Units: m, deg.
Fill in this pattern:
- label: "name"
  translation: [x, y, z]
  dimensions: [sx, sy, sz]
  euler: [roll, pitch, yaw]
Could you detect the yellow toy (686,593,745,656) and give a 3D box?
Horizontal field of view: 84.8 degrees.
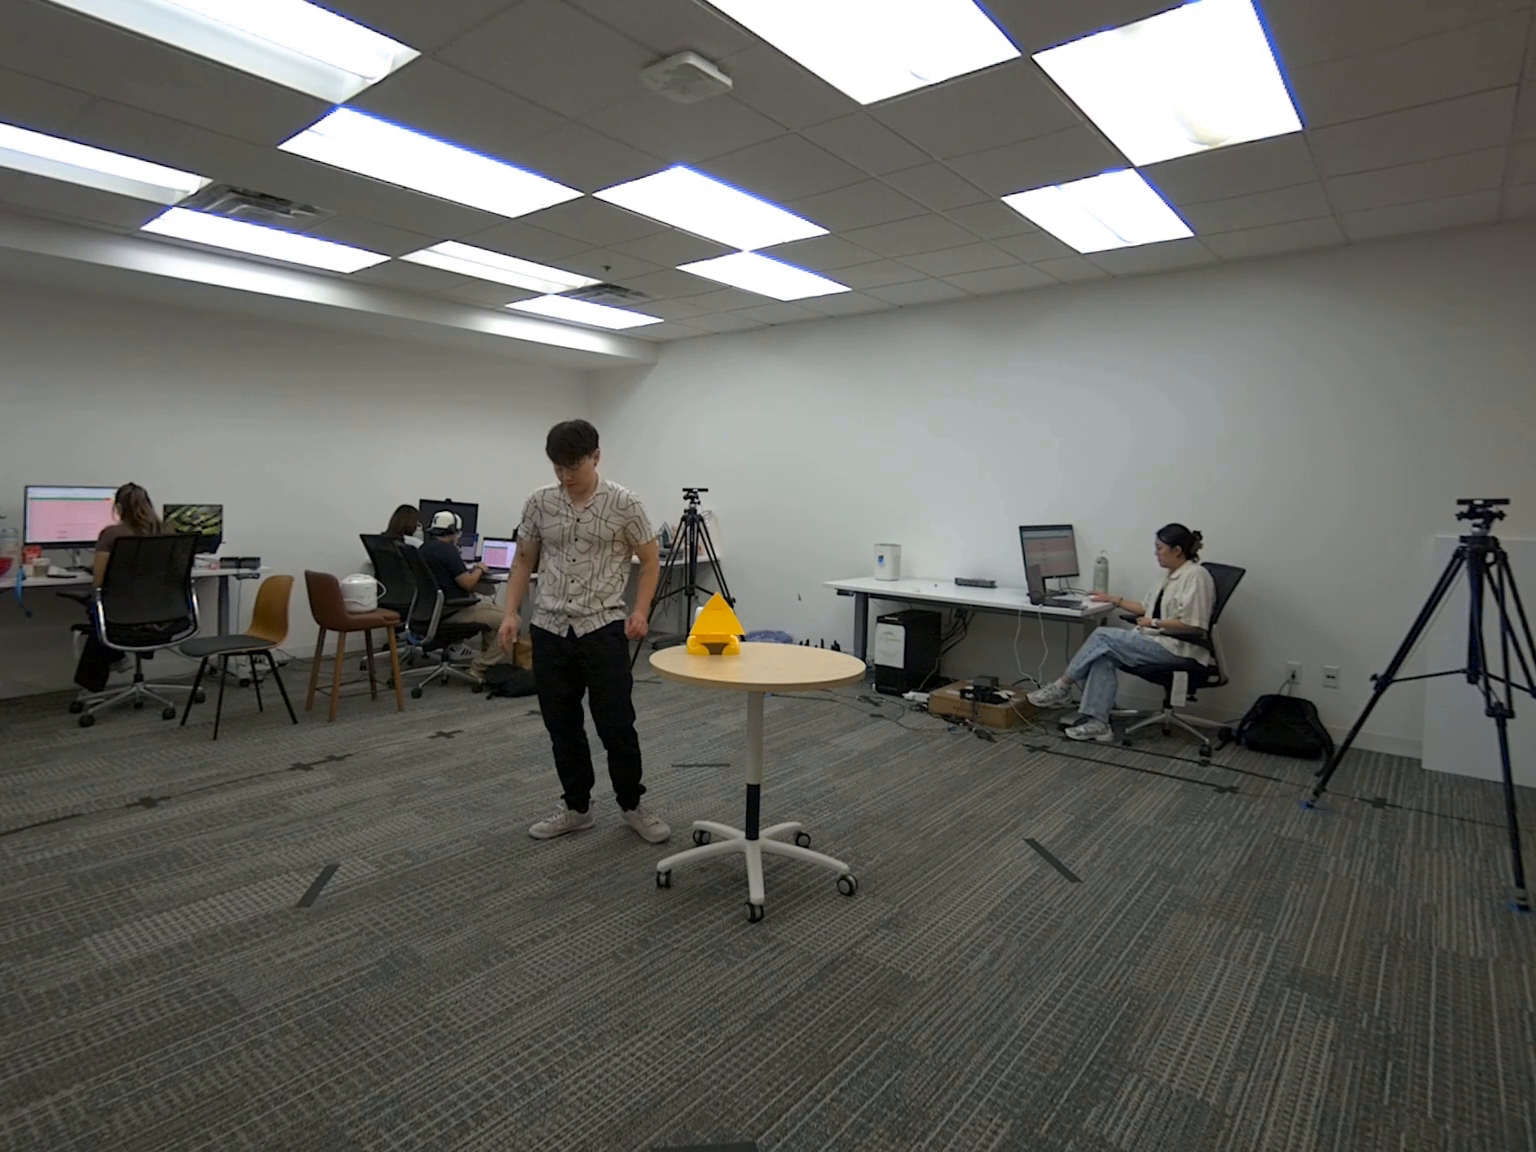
- label: "yellow toy"
  translation: [-0.214, 0.167, 3.176]
  dimensions: [0.203, 0.230, 0.195]
  euler: [-1, 4, -9]
